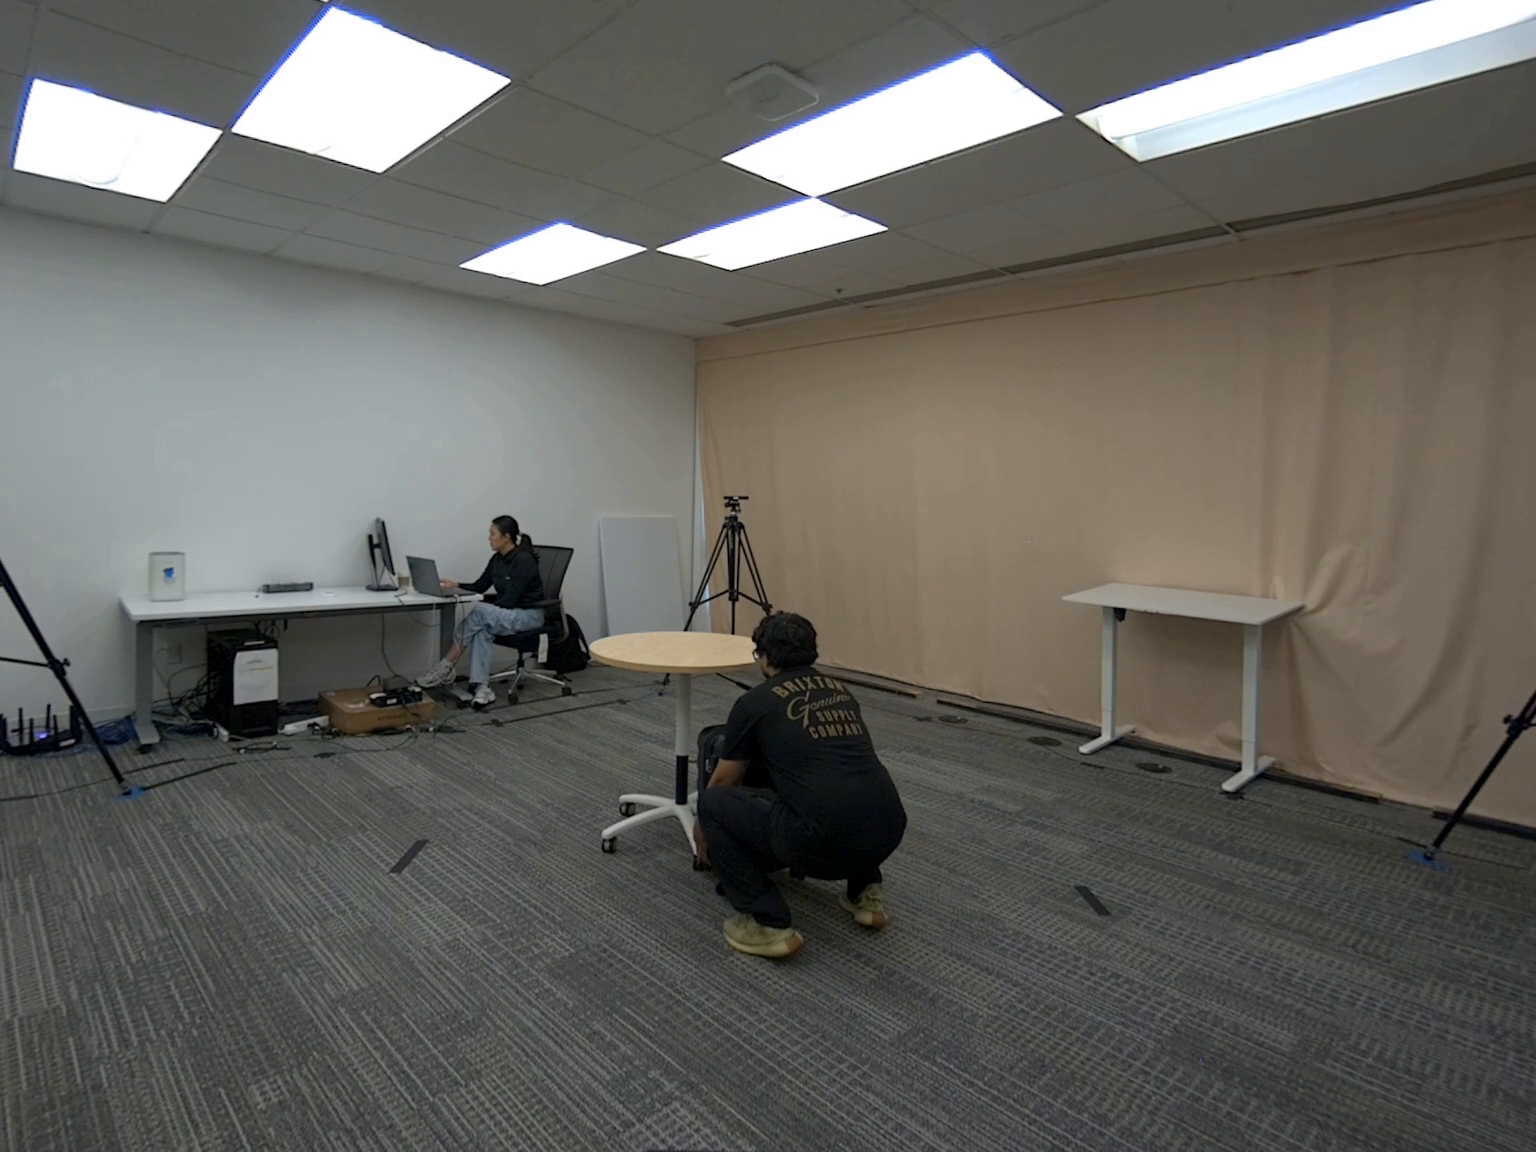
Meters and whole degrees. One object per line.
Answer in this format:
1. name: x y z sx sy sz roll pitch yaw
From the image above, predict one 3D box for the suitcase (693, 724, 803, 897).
1. suitcase: -0.058 0.805 3.039 0.369 0.549 0.253 0 2 -25
